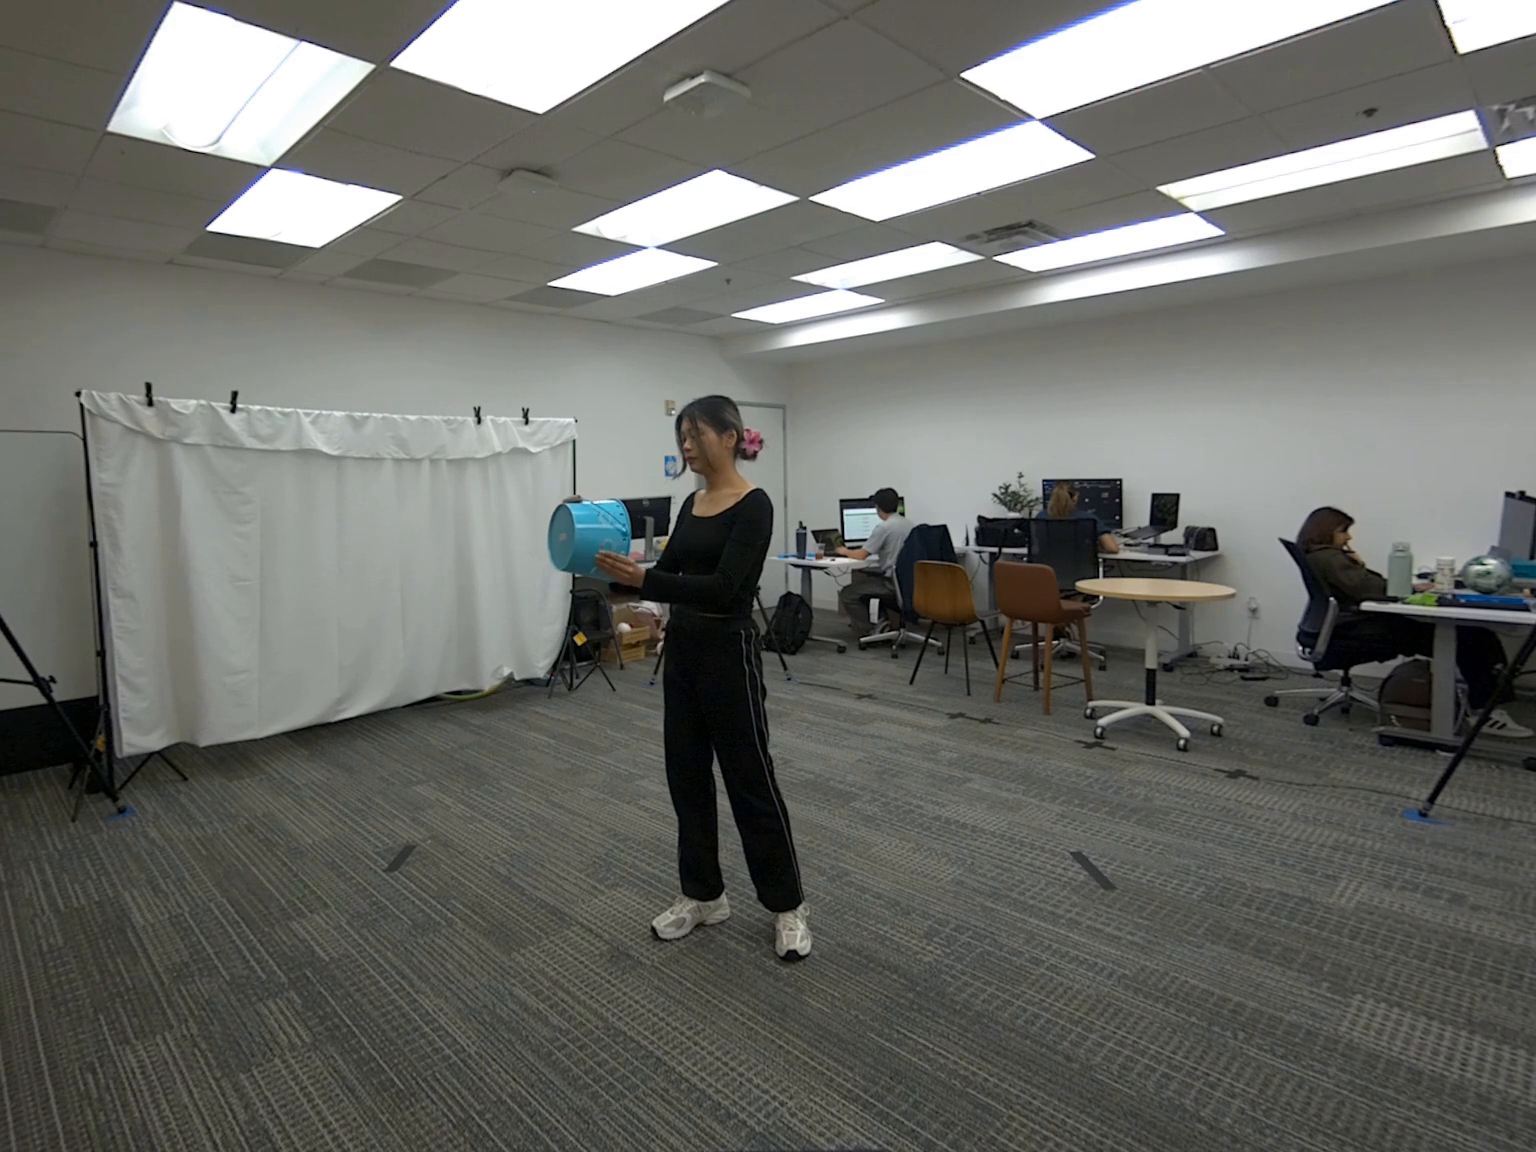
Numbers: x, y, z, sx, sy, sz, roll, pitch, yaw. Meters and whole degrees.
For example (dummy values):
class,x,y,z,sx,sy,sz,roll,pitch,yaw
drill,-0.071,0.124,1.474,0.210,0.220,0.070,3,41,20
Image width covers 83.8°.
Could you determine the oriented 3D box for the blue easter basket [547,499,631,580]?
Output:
class,x,y,z,sx,sy,sz,roll,pitch,yaw
blue easter basket,-0.484,-0.101,2.328,0.151,0.243,0.251,4,1,-35
